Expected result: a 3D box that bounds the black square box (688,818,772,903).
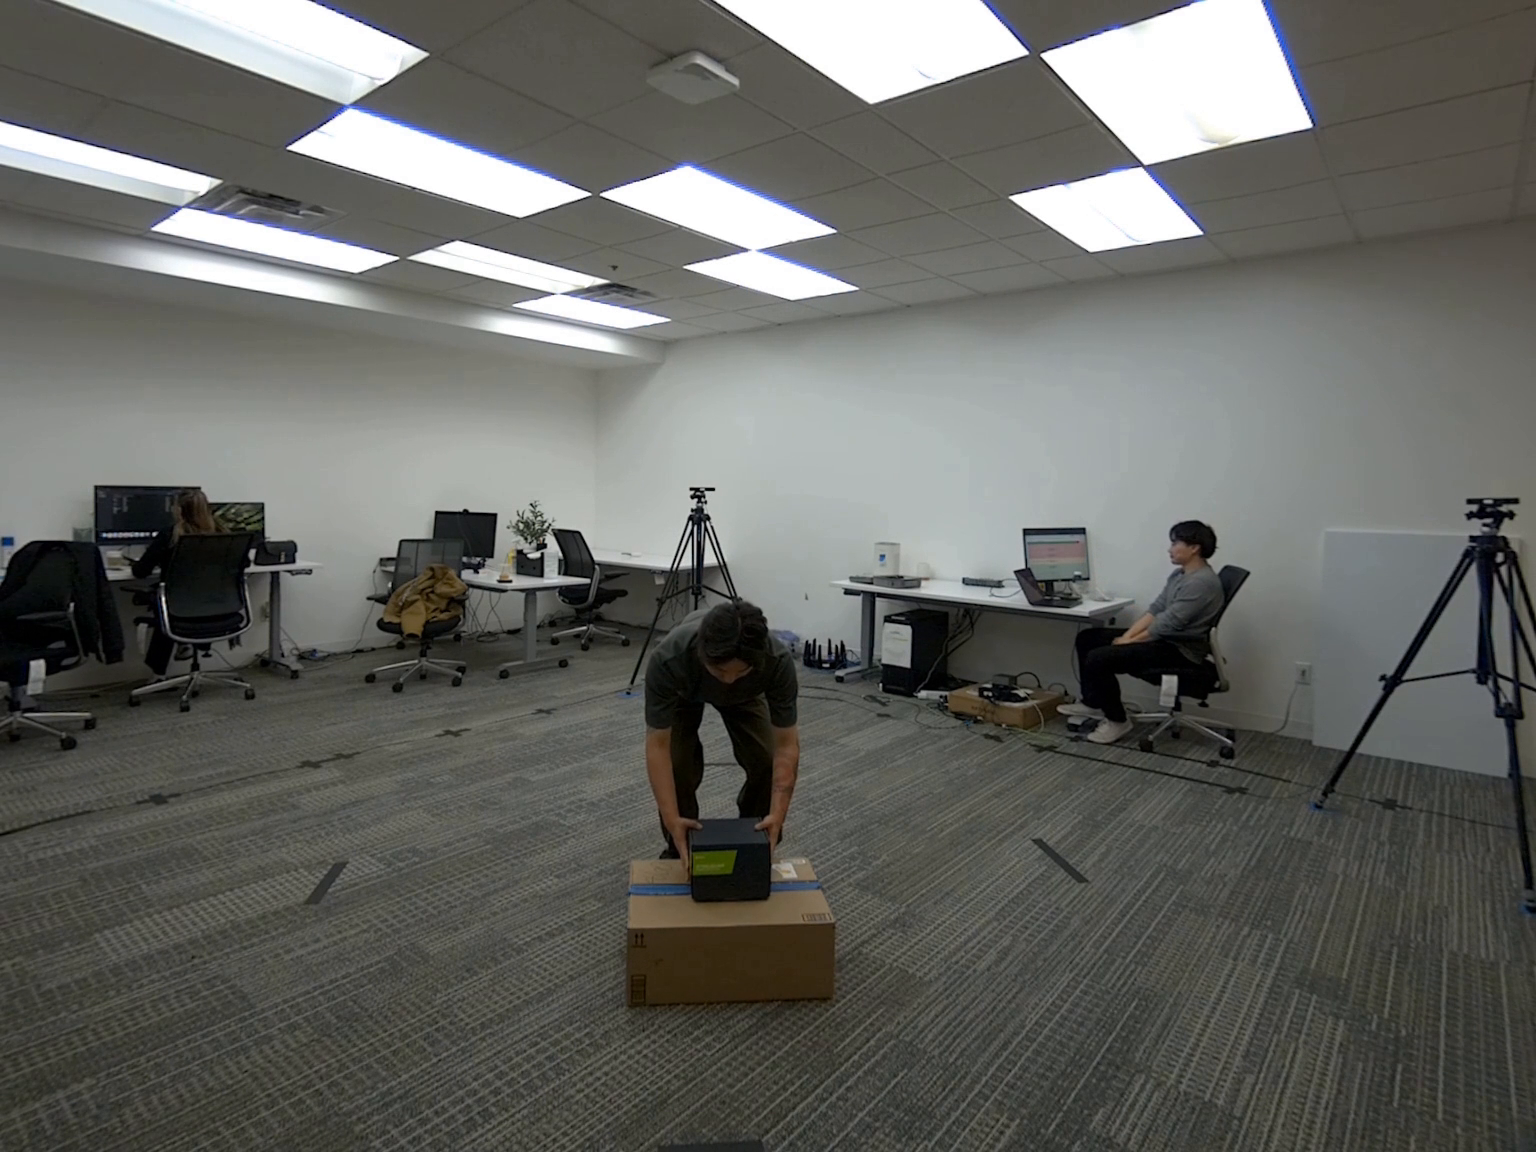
[{"bbox_3d":[-0.131,0.829,2.508,0.226,0.156,0.219,2,2,-7],"label":"black square box"}]
